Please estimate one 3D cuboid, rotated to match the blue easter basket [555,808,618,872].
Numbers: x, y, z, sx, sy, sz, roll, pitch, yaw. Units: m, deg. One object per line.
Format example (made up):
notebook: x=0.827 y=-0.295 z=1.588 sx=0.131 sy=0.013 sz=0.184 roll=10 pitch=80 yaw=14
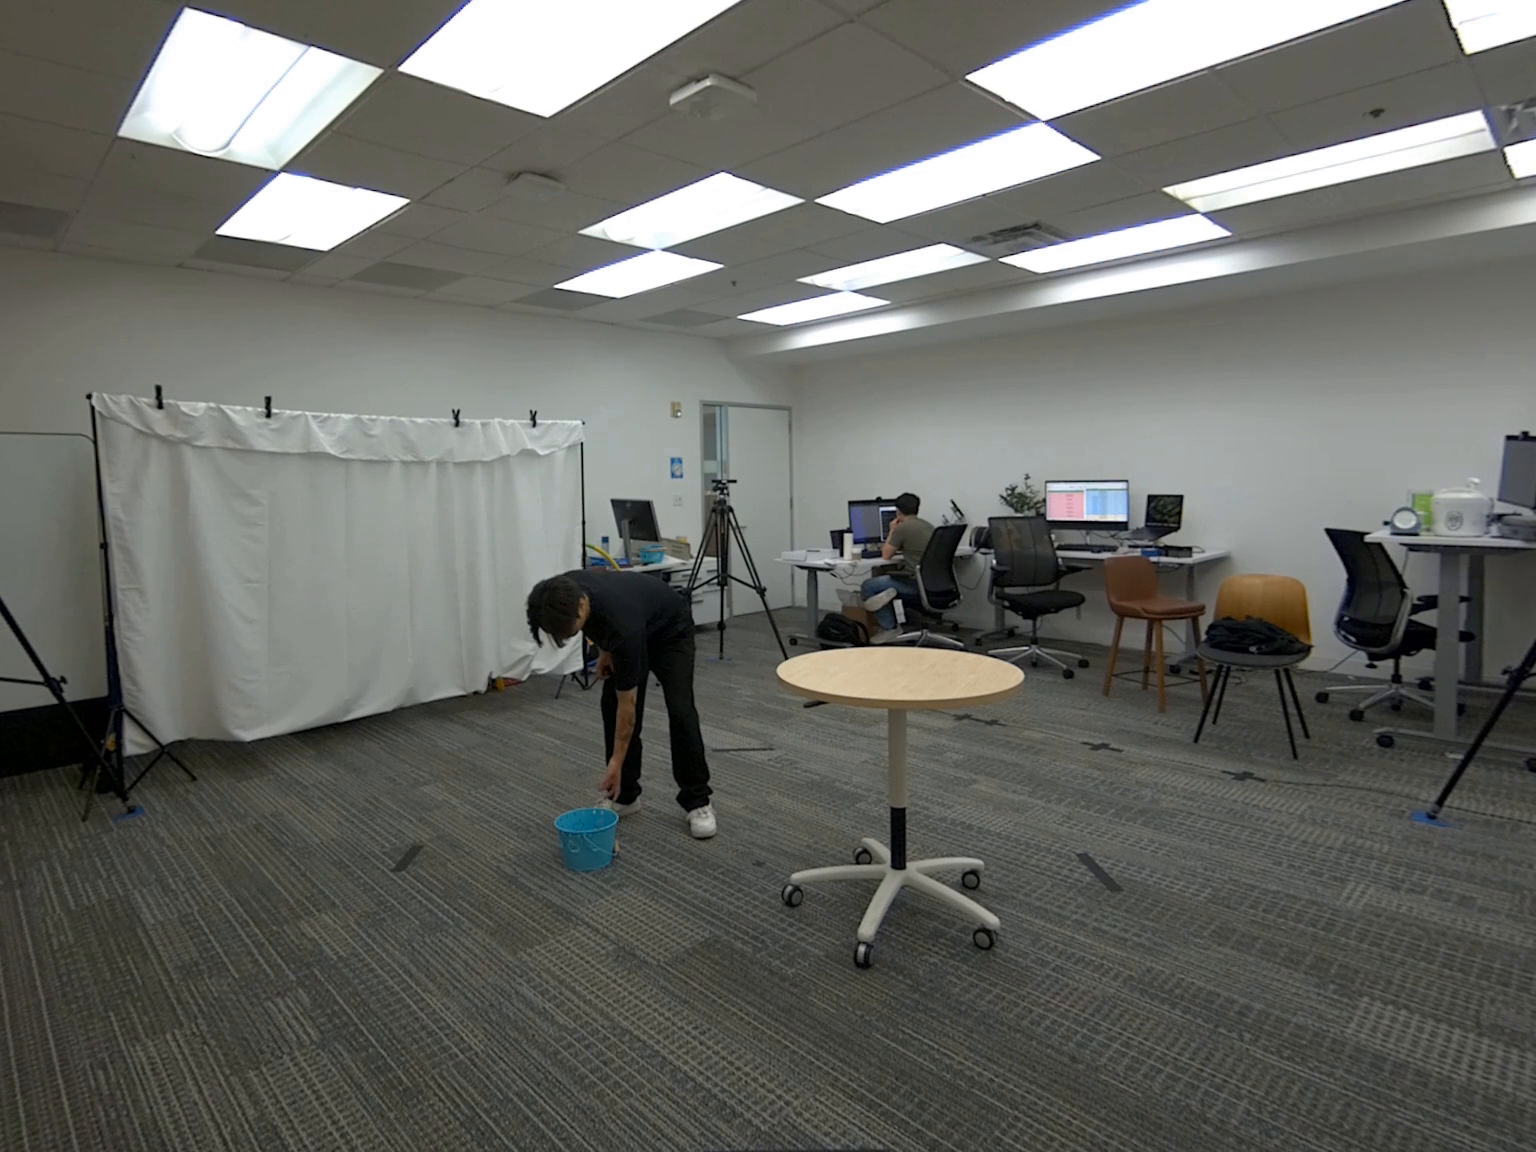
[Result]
blue easter basket: x=-0.664 y=0.975 z=3.163 sx=0.243 sy=0.155 sz=0.245 roll=-2 pitch=5 yaw=-2
